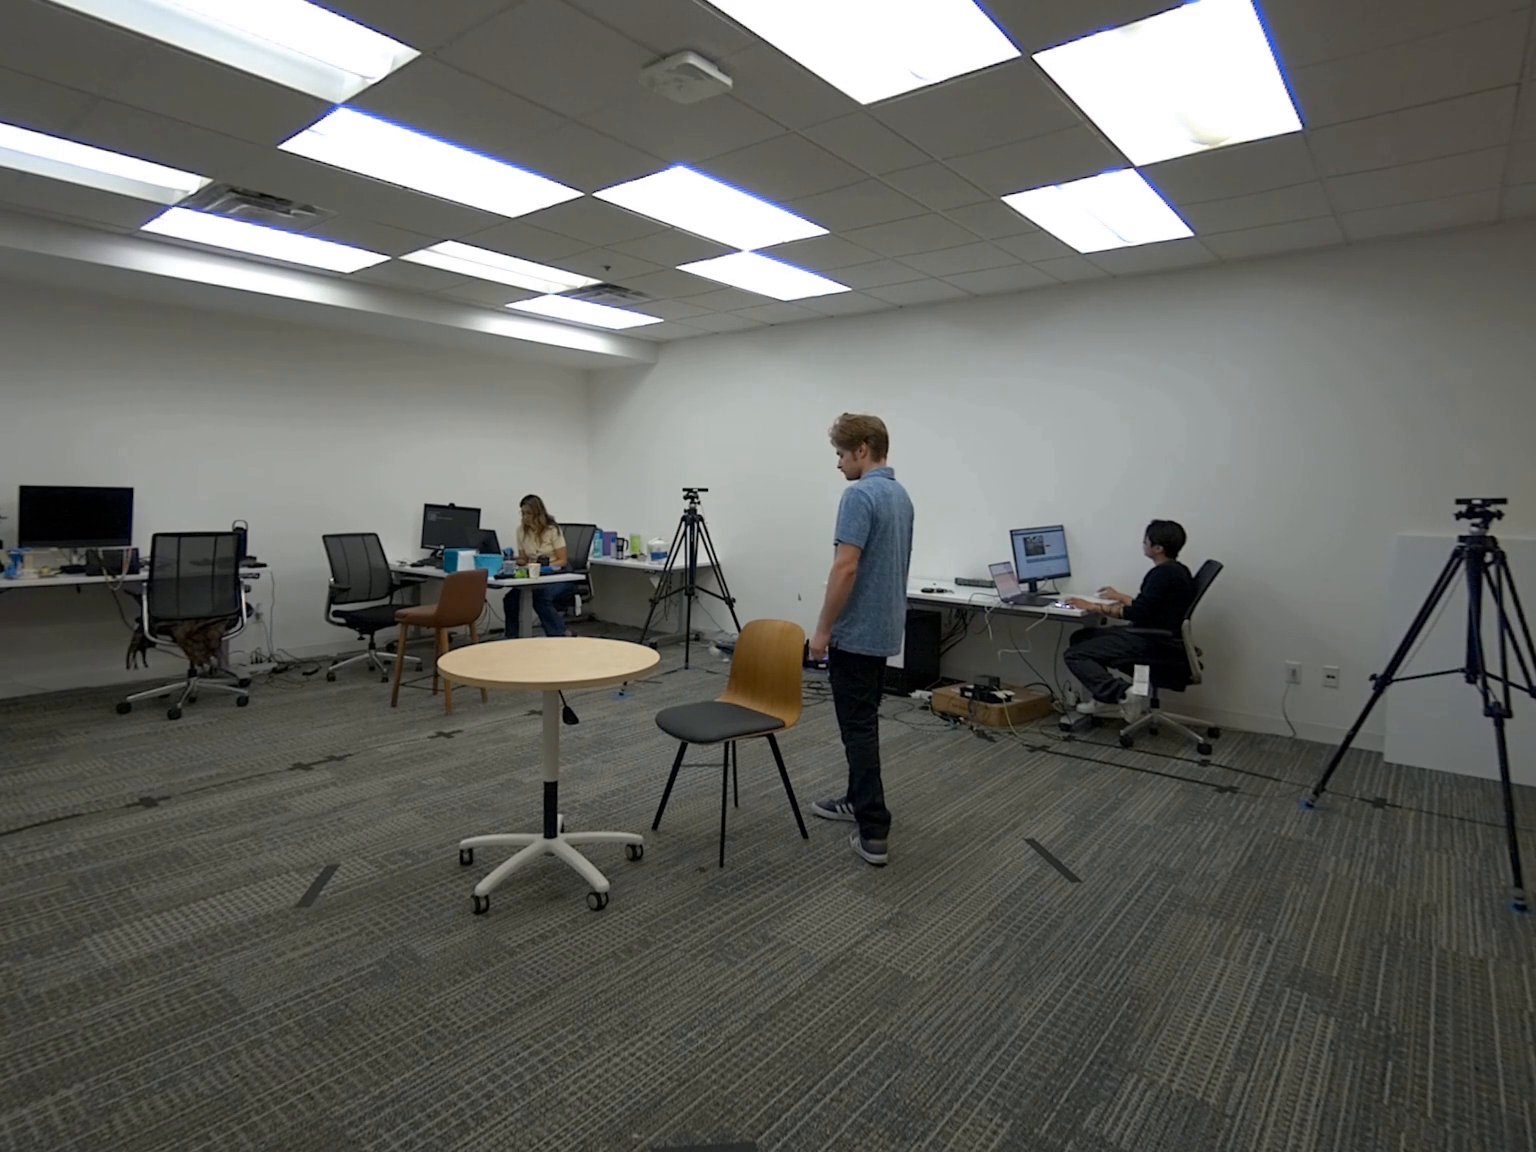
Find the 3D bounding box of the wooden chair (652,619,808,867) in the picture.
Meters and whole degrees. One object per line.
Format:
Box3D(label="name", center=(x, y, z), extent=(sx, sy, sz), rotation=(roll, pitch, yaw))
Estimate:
Box3D(label="wooden chair", center=(-0.163, 0.614, 3.407), extent=(0.506, 0.877, 0.494), rotation=(4, 1, -42))
